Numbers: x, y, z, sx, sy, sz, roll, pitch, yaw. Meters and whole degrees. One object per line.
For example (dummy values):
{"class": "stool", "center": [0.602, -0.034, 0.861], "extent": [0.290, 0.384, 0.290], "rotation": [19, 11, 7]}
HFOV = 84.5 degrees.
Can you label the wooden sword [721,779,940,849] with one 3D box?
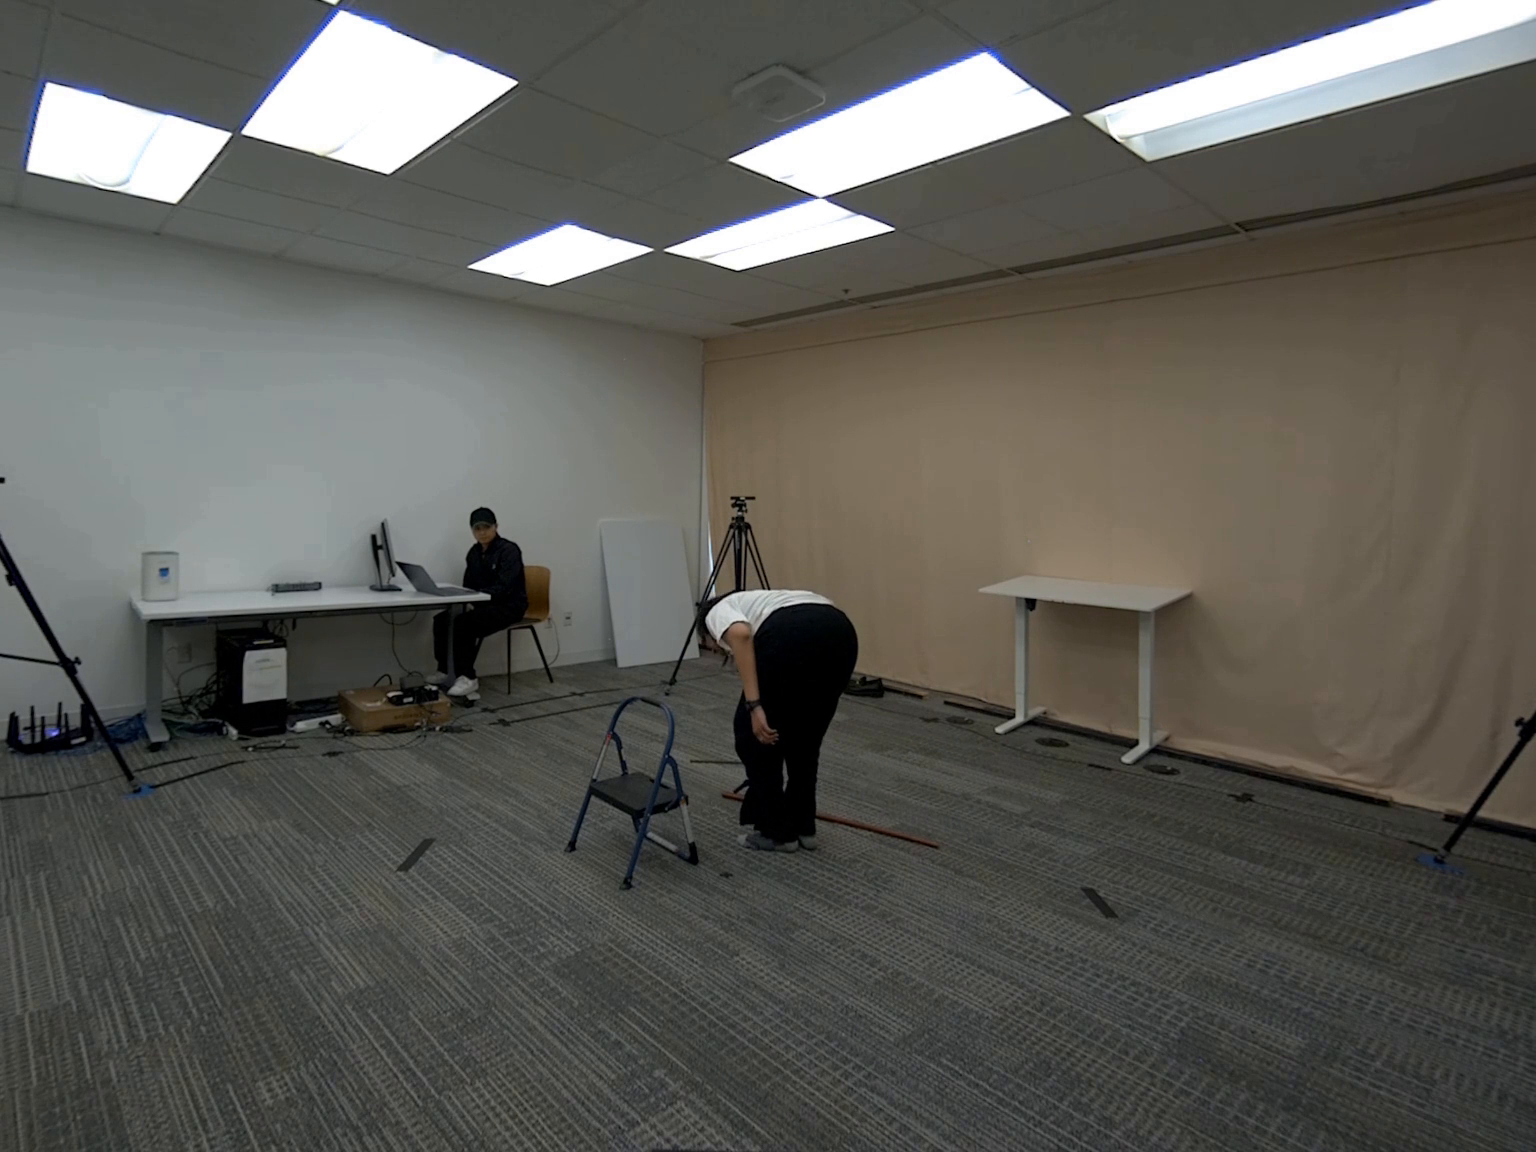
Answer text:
{"class": "wooden sword", "center": [0.230, 1.040, 3.667], "extent": [1.048, 0.024, 0.051], "rotation": [5, 25, 32]}
